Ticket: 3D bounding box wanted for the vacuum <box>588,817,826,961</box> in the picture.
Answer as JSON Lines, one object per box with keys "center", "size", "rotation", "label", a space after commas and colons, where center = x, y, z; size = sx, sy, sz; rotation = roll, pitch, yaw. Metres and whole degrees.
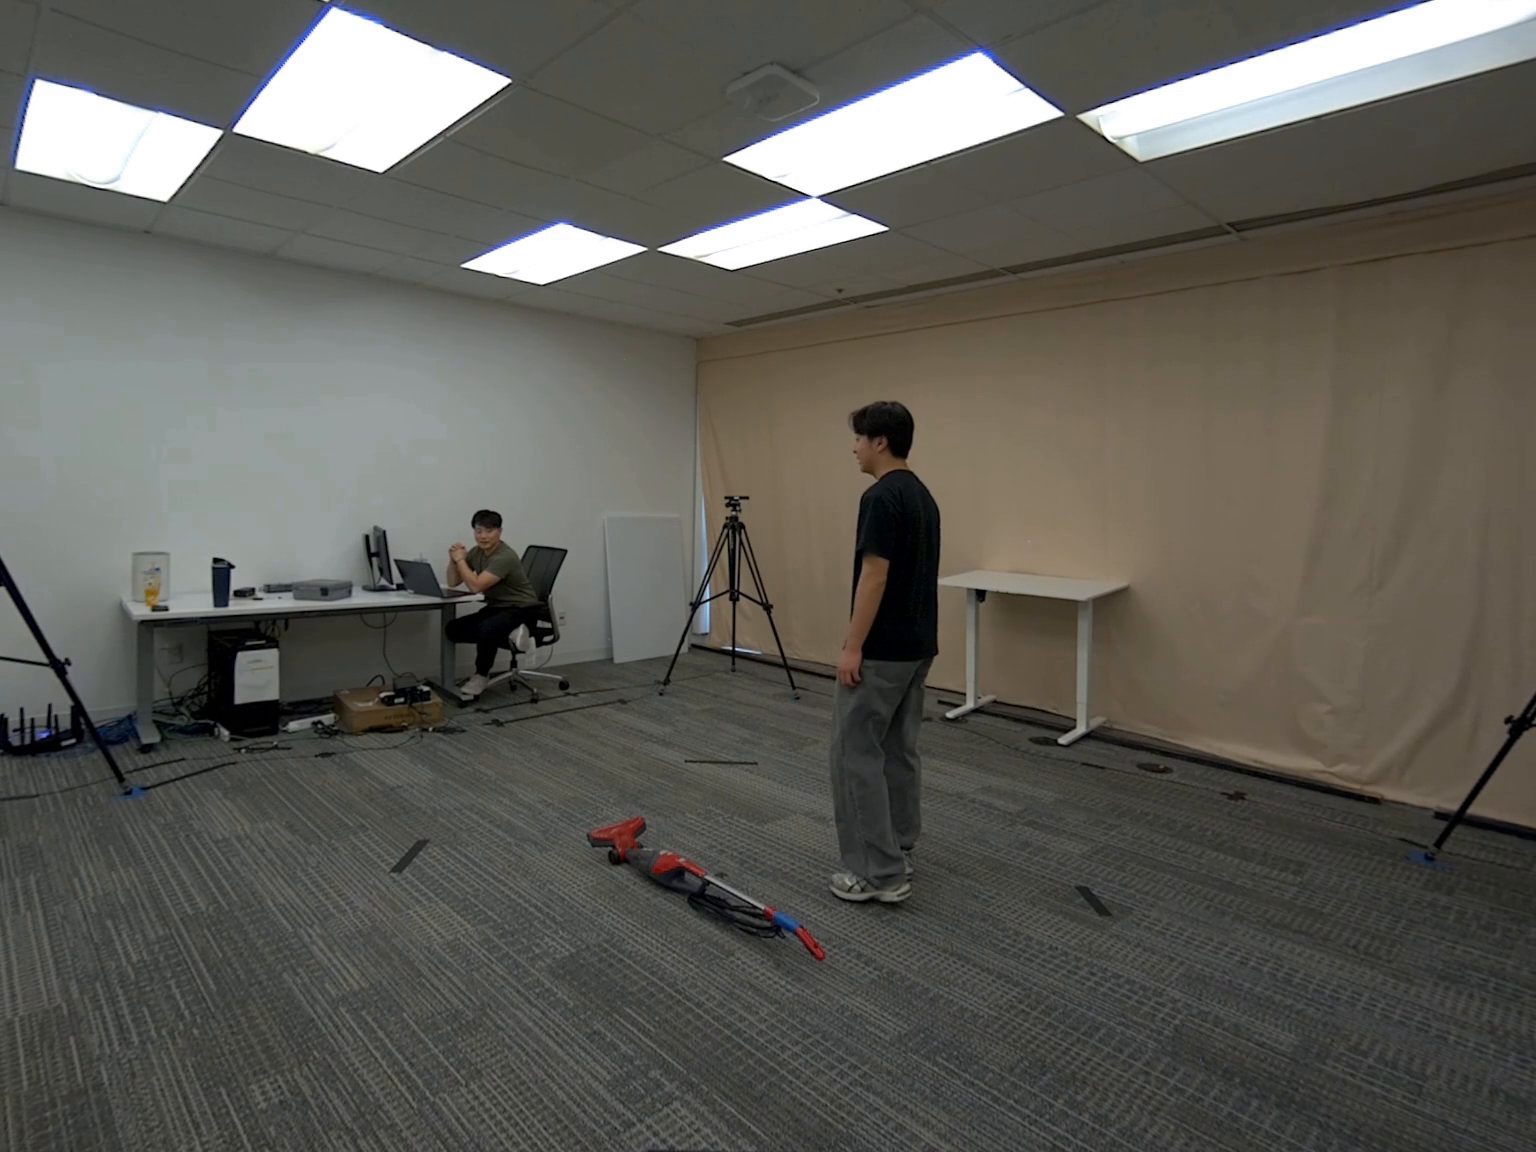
{"center": [-0.214, 1.066, 2.845], "size": [0.247, 0.143, 1.077], "rotation": [-2, 7, -42], "label": "vacuum"}
